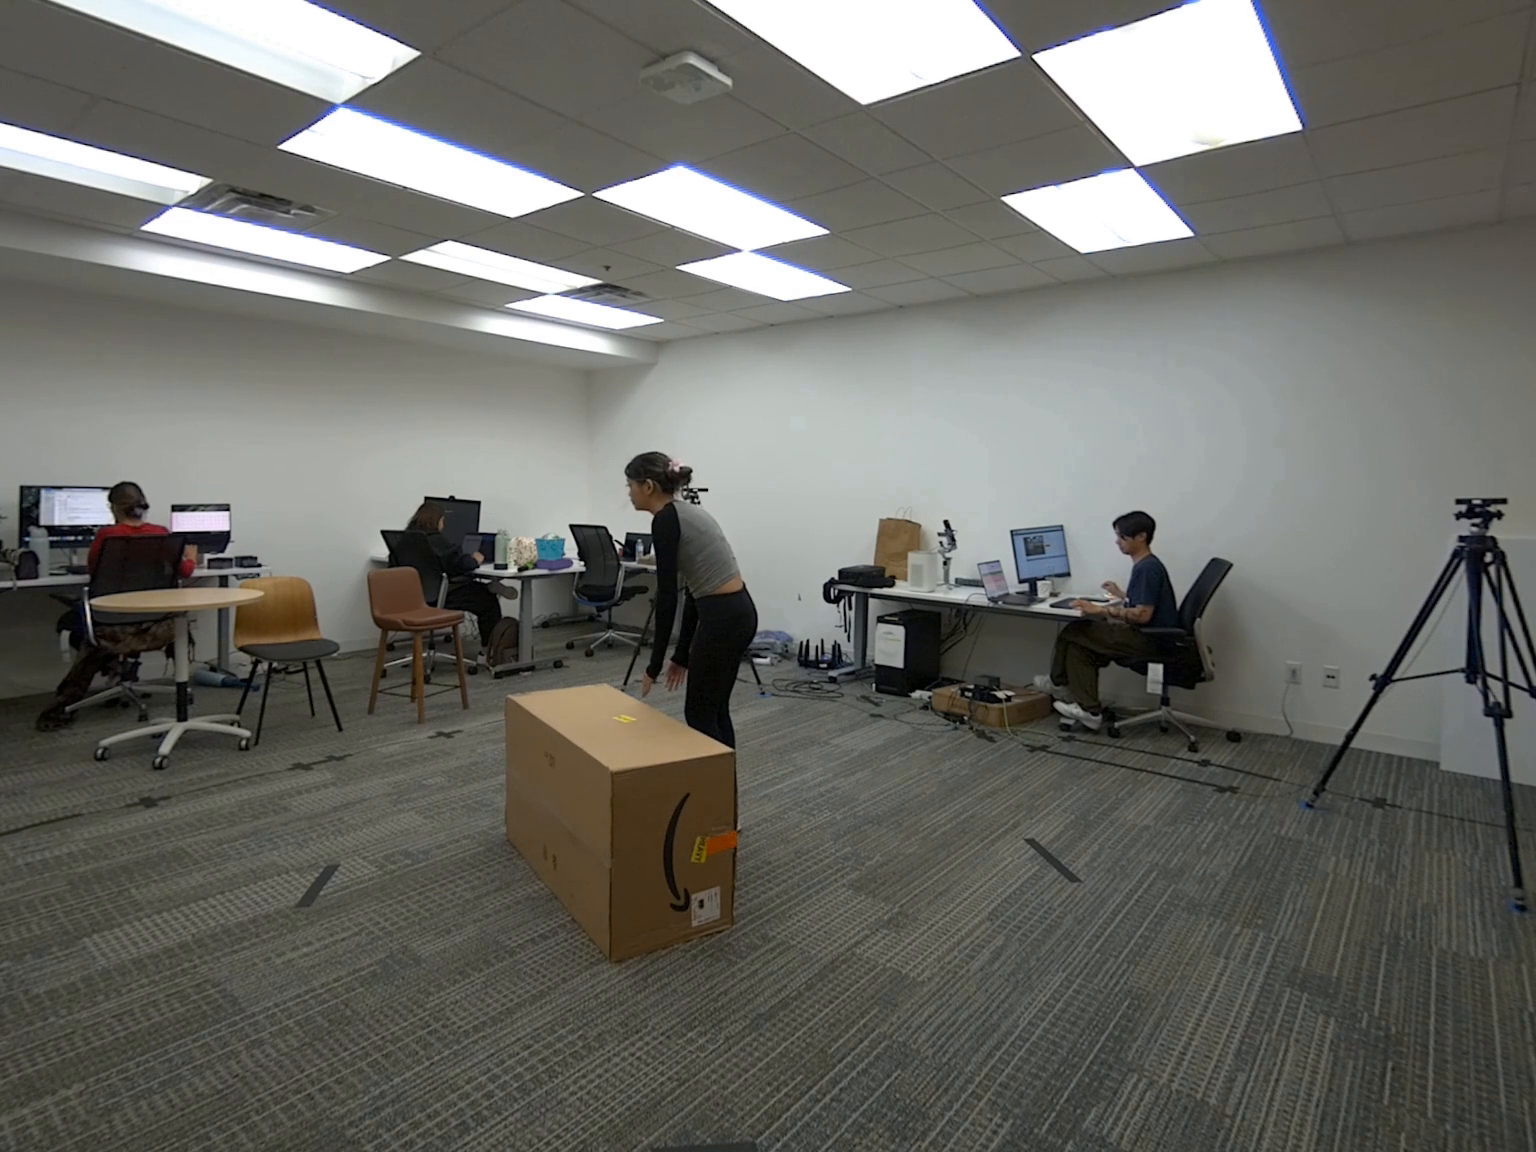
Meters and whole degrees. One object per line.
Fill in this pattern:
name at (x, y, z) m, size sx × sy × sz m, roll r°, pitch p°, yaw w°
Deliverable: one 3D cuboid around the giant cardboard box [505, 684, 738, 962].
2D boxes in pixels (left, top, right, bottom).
giant cardboard box at (-0.572, 0.785, 2.994) m, size 0.434 × 0.582 × 1.060 m, roll 0°, pitch 5°, yaw -34°
